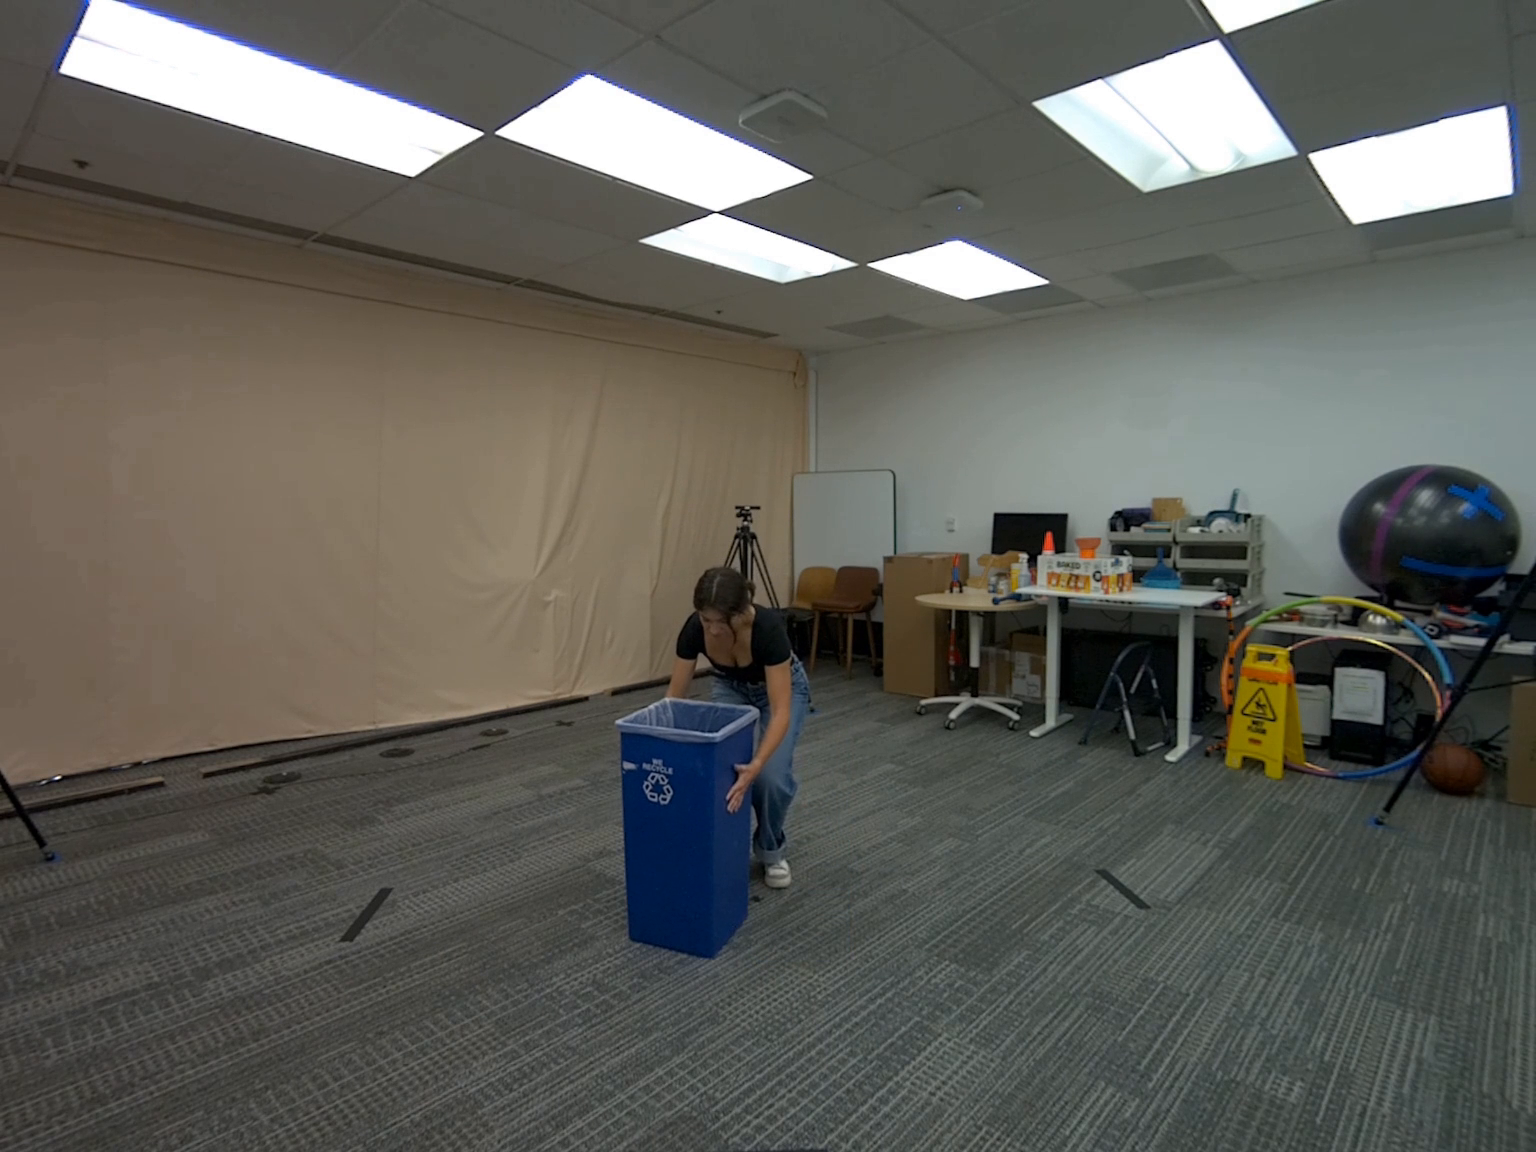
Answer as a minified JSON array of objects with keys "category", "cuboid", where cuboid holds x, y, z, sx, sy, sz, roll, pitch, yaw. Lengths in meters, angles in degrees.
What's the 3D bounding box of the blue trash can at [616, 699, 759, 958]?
[{"category":"blue trash can","cuboid":[-0.252,0.805,2.756,0.383,0.712,0.370,1,4,23]}]
